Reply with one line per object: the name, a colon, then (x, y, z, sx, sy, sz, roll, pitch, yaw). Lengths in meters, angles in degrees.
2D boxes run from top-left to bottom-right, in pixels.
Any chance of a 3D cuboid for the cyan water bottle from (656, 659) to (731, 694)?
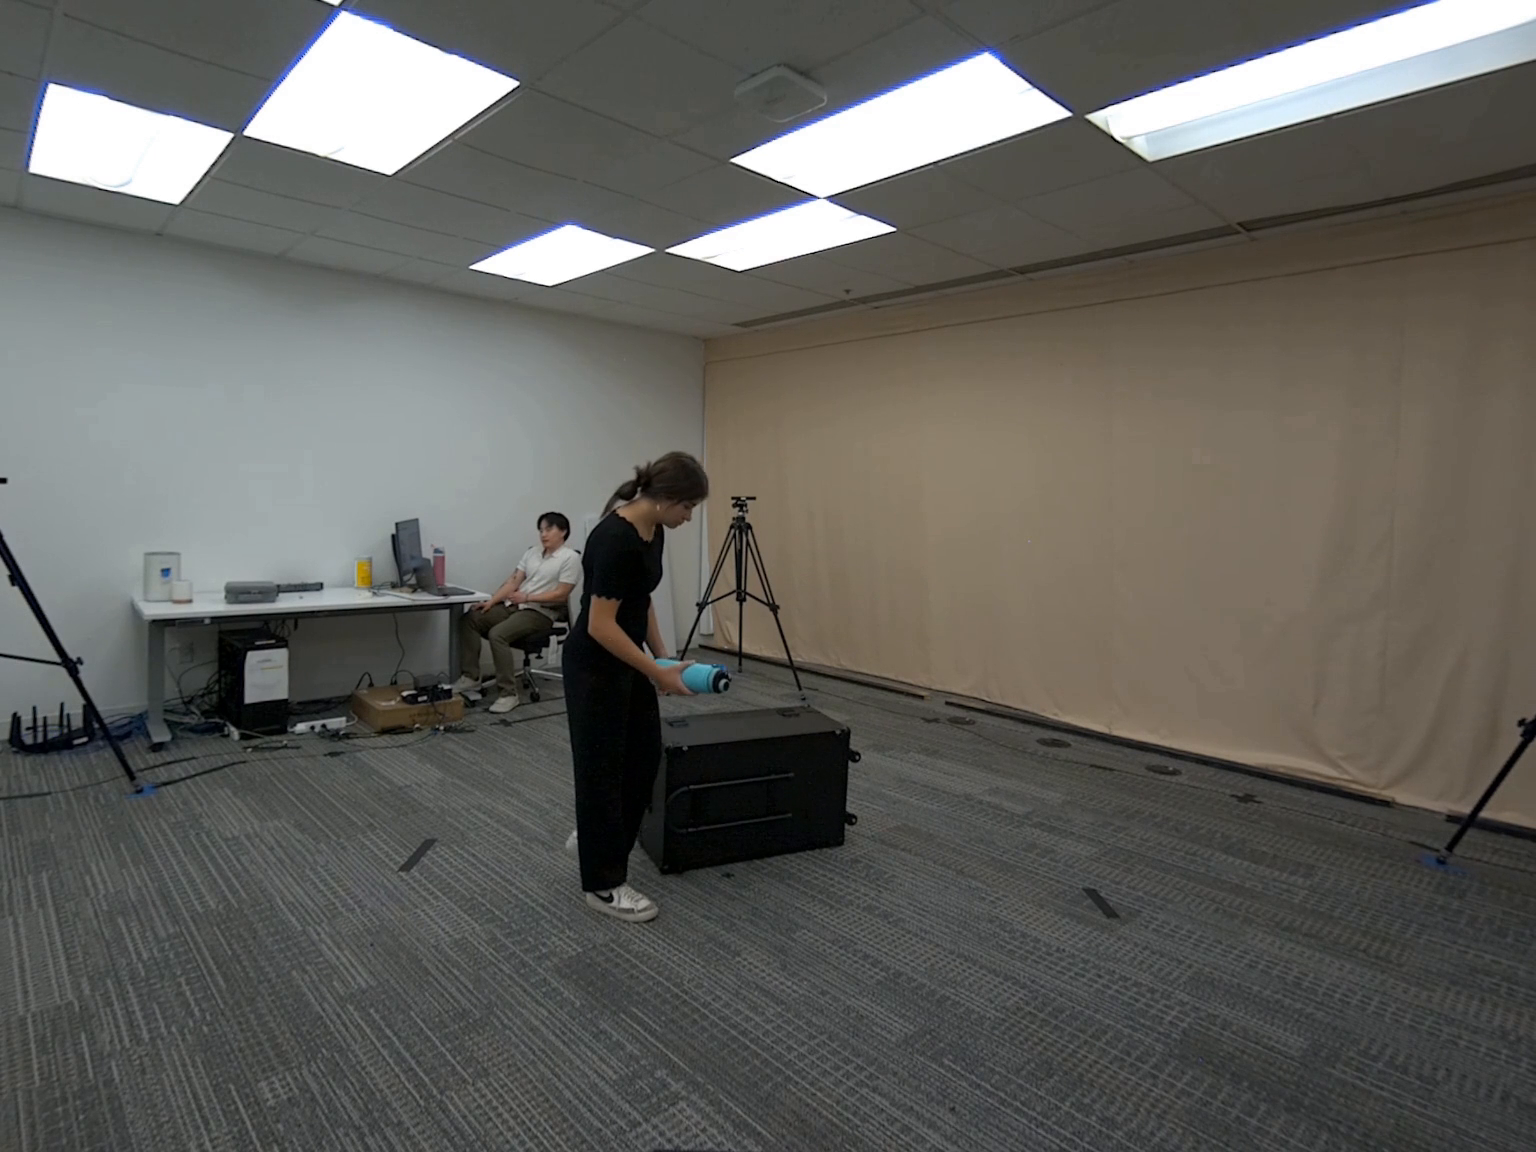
cyan water bottle: (-0.255, 0.319, 2.652, 0.290, 0.092, 0.090, 1, 3, 33)
